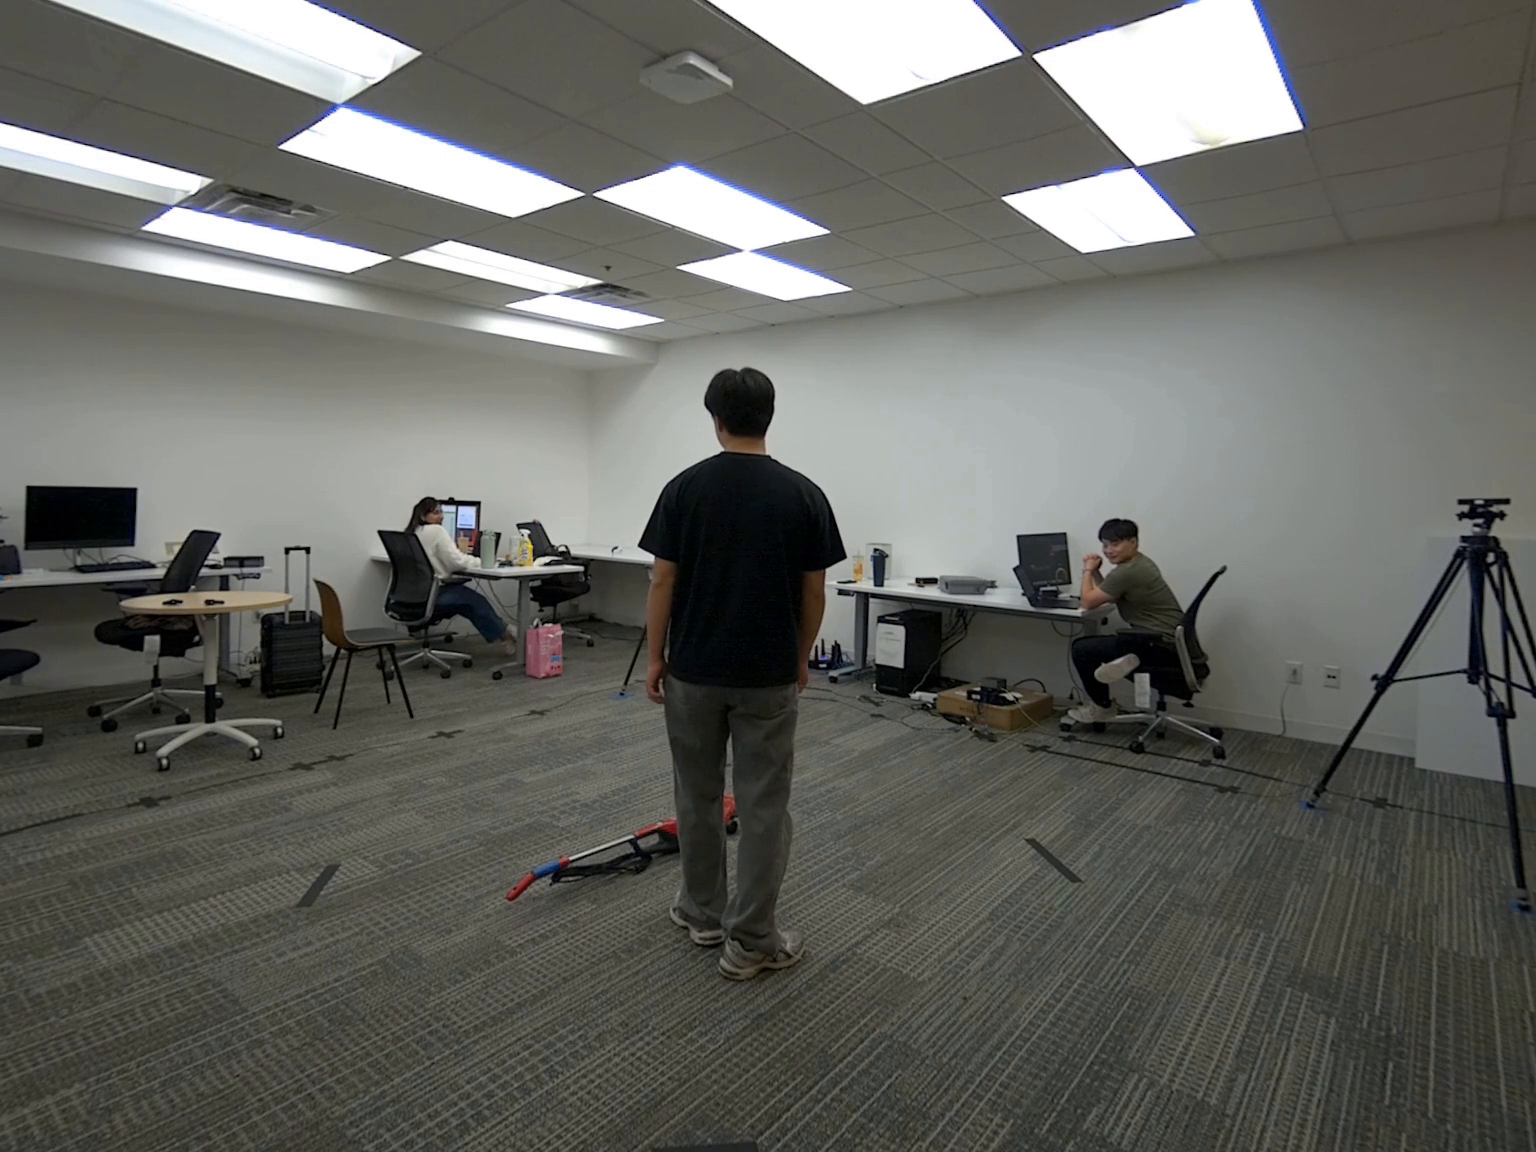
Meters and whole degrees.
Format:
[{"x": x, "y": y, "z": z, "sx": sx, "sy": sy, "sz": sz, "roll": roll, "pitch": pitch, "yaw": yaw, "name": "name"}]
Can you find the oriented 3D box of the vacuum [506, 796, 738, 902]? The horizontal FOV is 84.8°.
[{"x": -0.508, "y": 1.006, "z": 3.123, "sx": 0.261, "sy": 0.143, "sz": 1.019, "roll": 8, "pitch": 9, "yaw": 40, "name": "vacuum"}]
